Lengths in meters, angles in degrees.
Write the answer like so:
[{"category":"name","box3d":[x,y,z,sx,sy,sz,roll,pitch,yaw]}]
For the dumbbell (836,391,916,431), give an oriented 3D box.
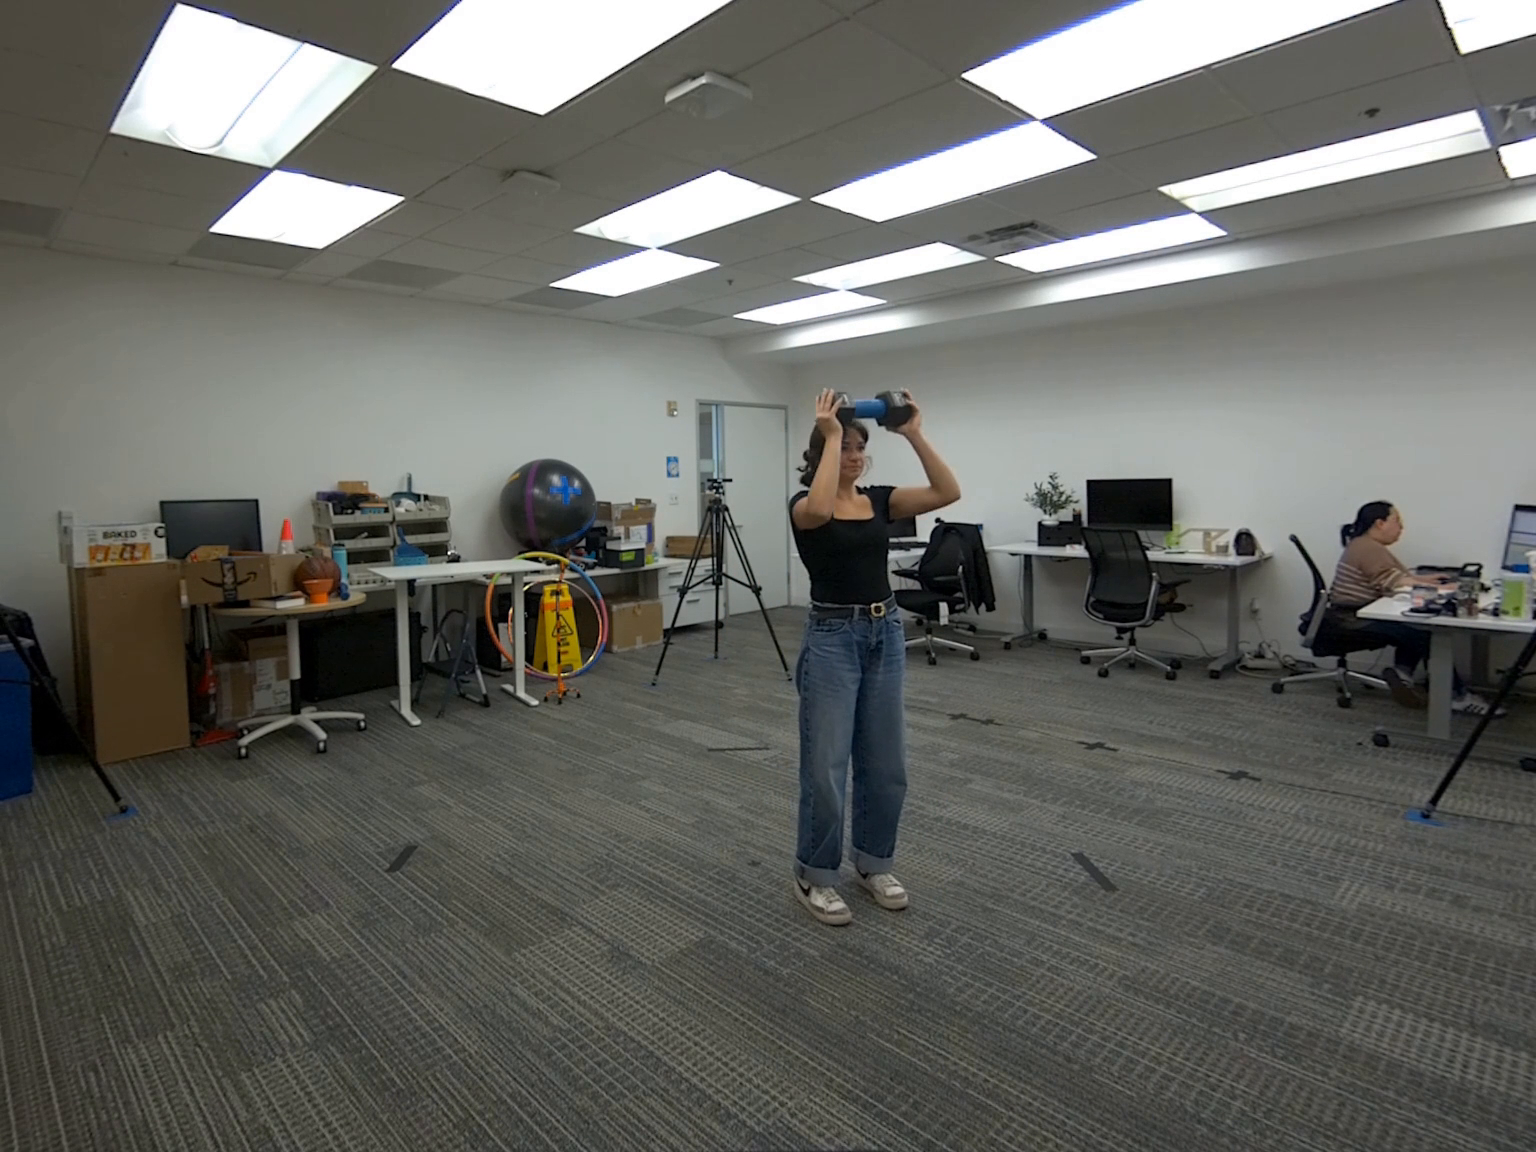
[{"category":"dumbbell","box3d":[0.296,-0.520,2.642,0.287,0.121,0.113,-6,38,-28]}]
